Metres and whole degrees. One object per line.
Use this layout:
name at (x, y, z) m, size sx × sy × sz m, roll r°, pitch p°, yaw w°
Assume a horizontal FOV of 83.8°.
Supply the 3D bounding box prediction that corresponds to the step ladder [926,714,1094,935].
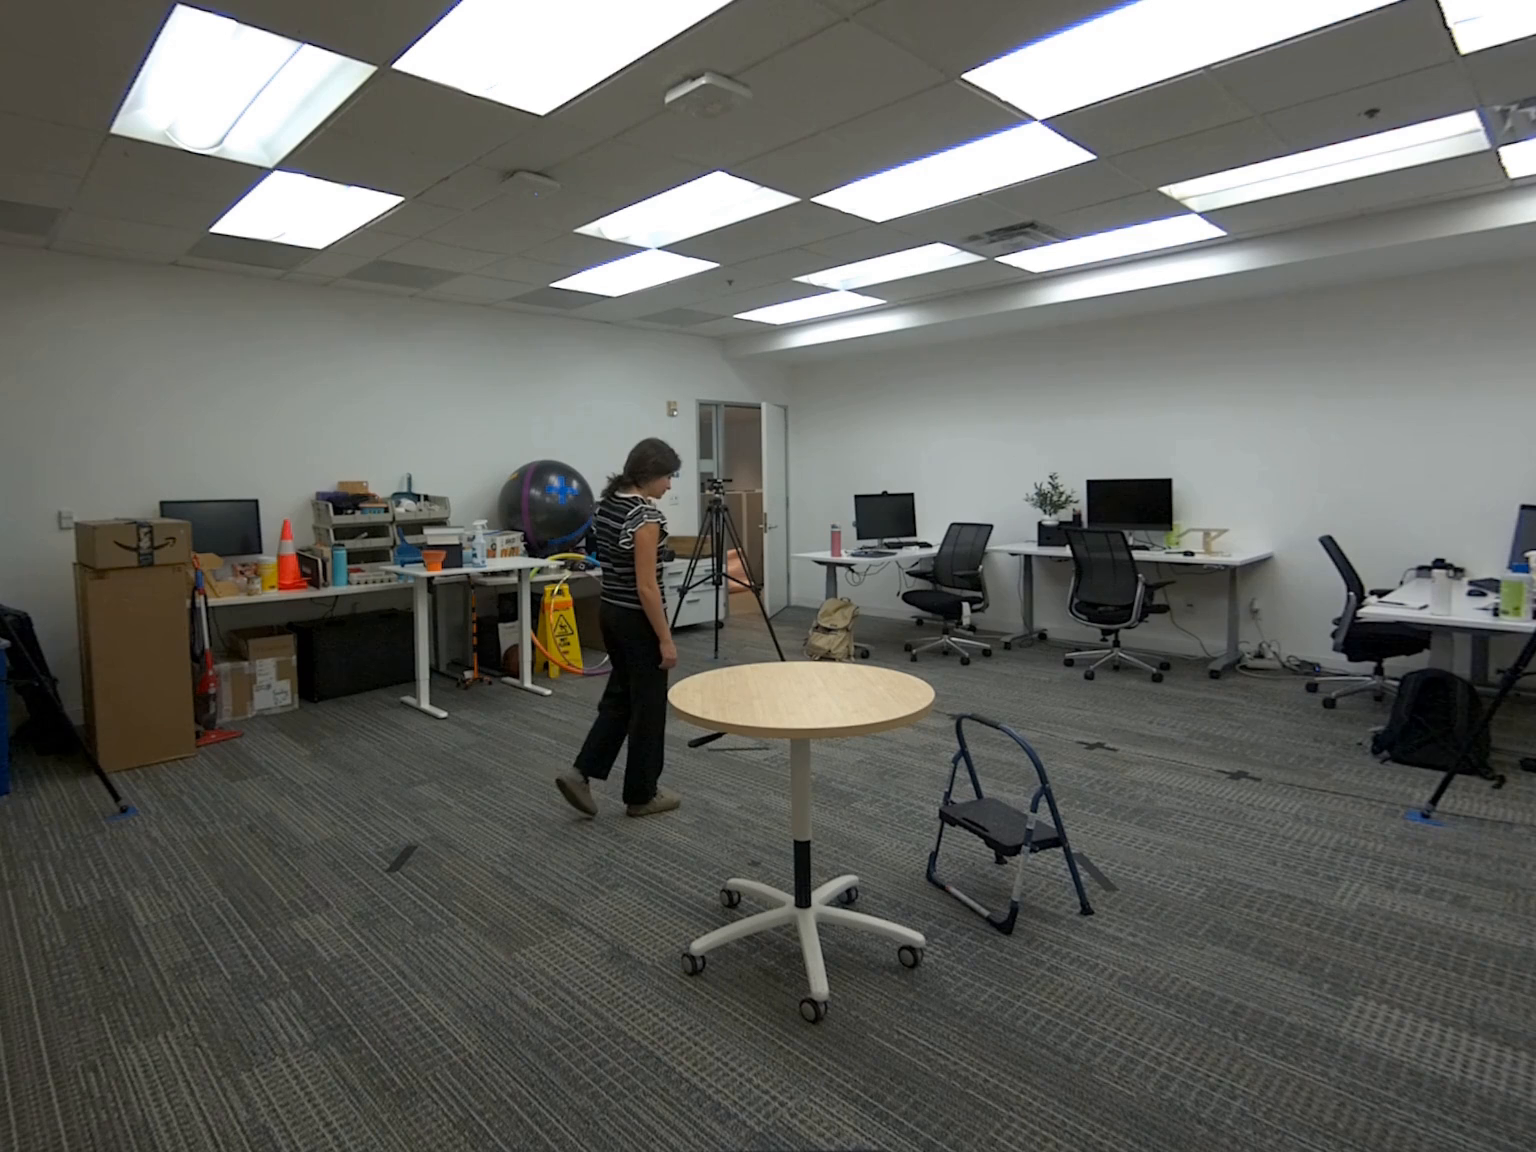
step ladder at (0.786, 0.759, 2.822) m, size 0.342 × 0.604 × 0.441 m, roll -3°, pitch 4°, yaw -26°
